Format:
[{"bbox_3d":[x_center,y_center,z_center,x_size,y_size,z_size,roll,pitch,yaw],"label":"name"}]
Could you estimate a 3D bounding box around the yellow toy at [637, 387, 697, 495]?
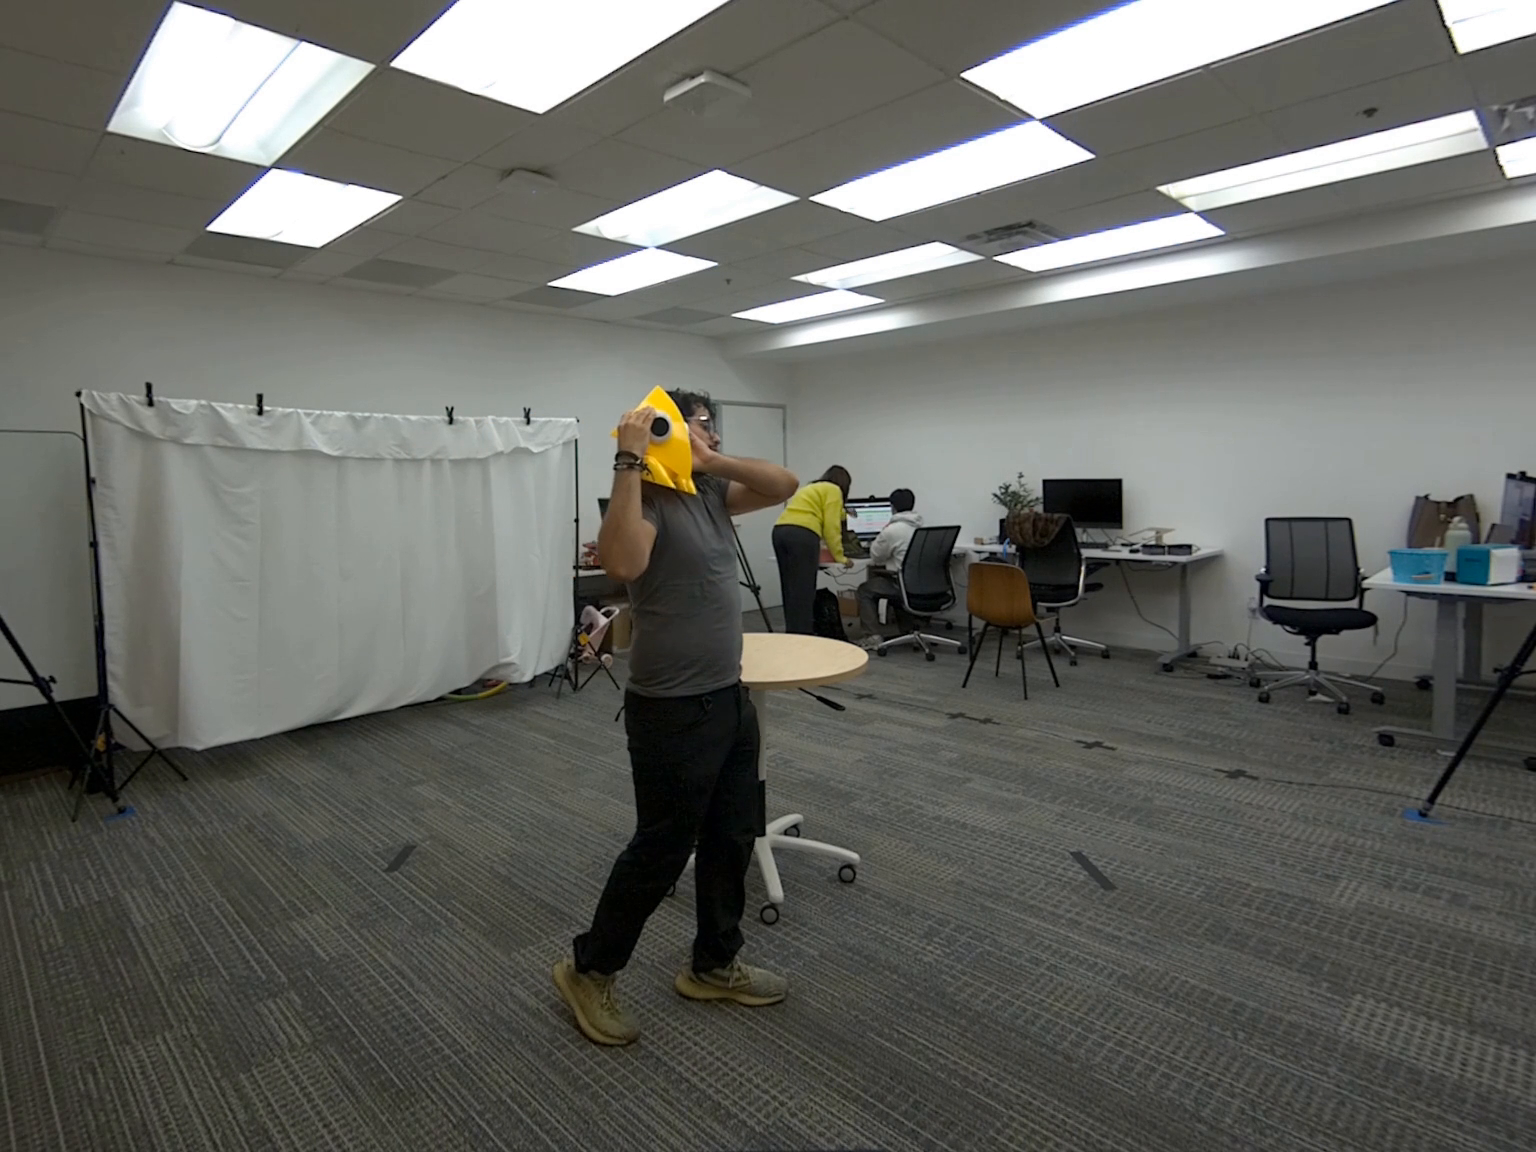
[{"bbox_3d":[-0.249,-0.336,2.064,0.198,0.230,0.200,17,3,21],"label":"yellow toy"}]
